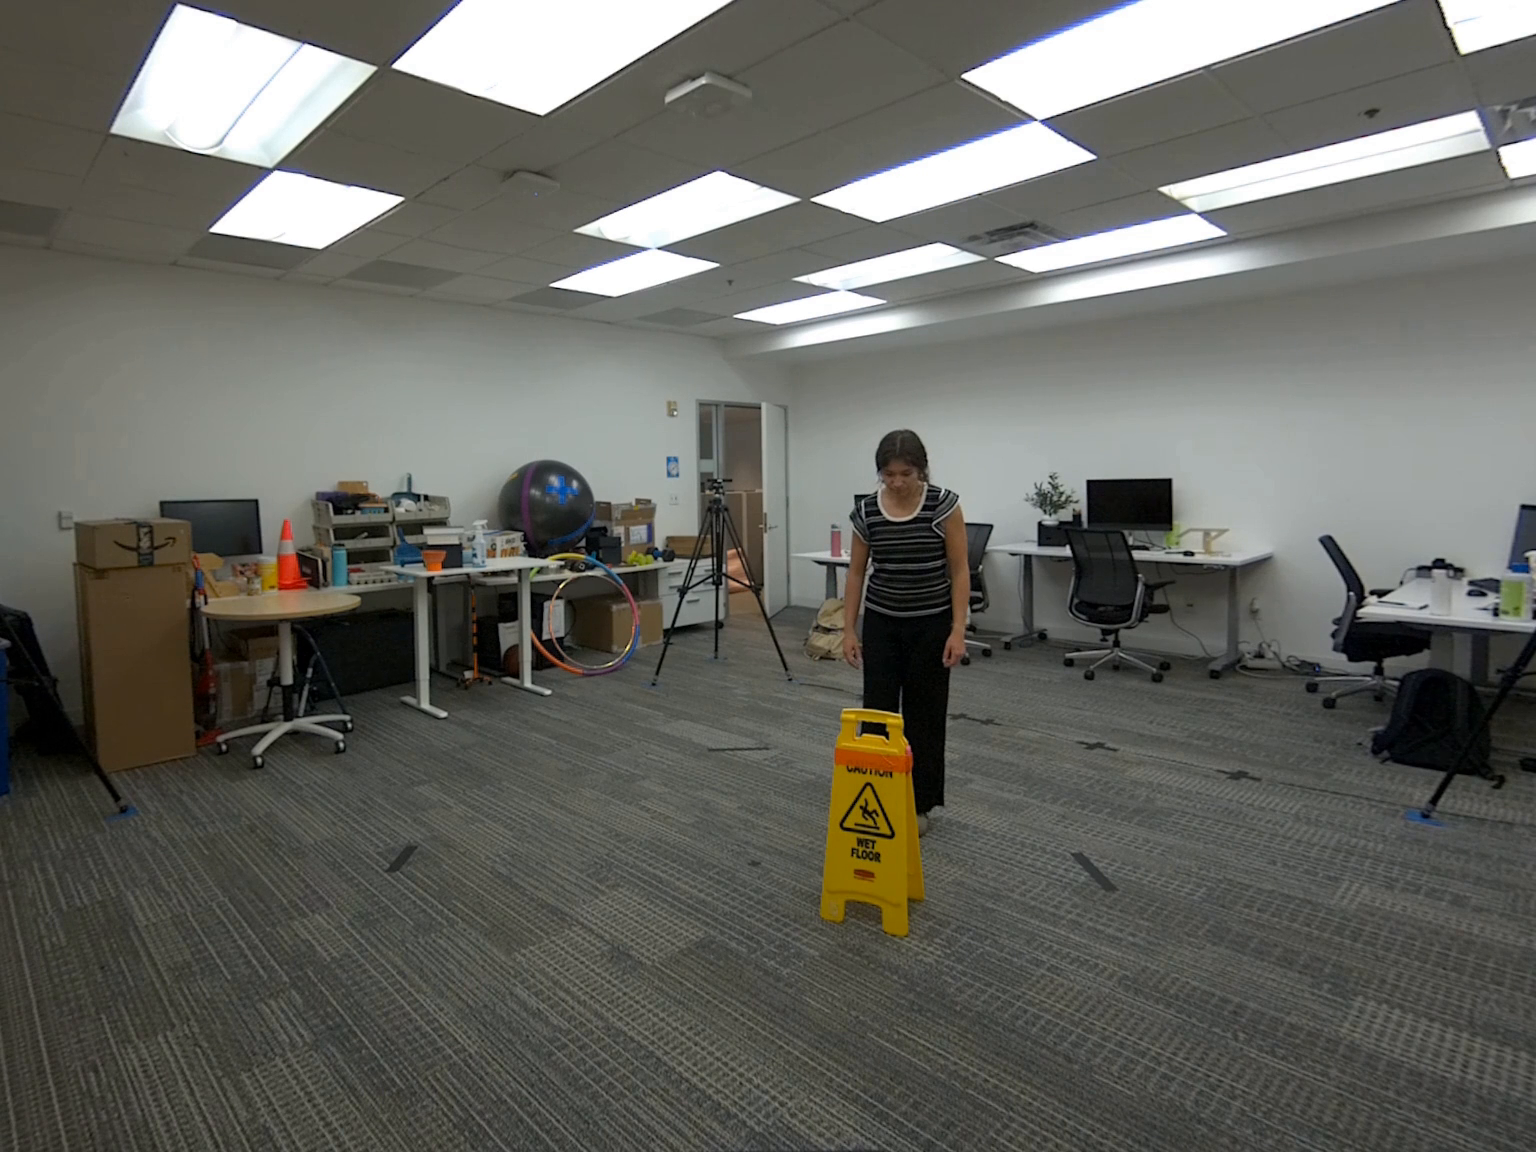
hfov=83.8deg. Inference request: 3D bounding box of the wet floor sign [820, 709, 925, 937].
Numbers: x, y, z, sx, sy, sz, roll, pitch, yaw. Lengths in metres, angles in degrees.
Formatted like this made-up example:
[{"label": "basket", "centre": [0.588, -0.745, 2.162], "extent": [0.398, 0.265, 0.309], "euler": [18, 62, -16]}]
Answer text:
[{"label": "wet floor sign", "centre": [0.340, 0.757, 2.736], "extent": [0.288, 0.643, 0.285], "euler": [0, 5, 23]}]
